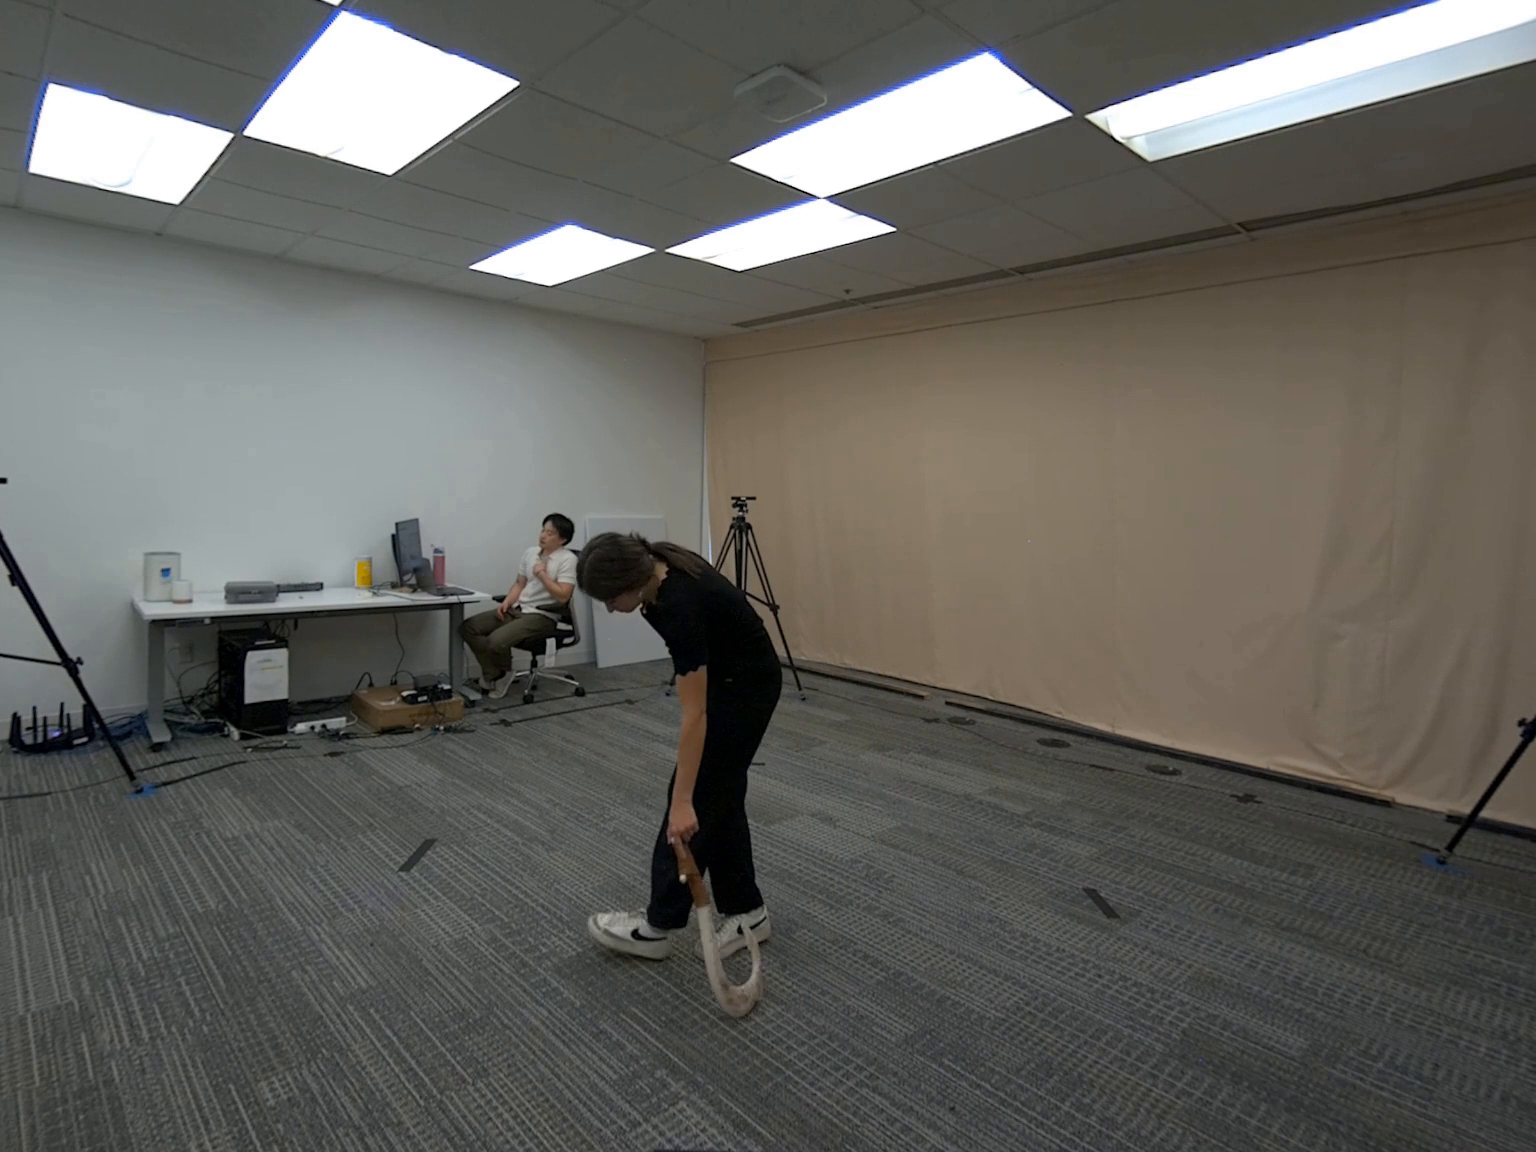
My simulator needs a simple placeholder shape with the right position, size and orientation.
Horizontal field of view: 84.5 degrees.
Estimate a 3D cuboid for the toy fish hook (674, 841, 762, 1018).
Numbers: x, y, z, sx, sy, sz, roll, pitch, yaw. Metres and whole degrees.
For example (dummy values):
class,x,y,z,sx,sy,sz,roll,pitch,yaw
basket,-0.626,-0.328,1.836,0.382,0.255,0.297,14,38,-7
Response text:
class,x,y,z,sx,sy,sz,roll,pitch,yaw
toy fish hook,-0.148,0.950,2.337,0.049,0.511,0.220,-23,-9,25
